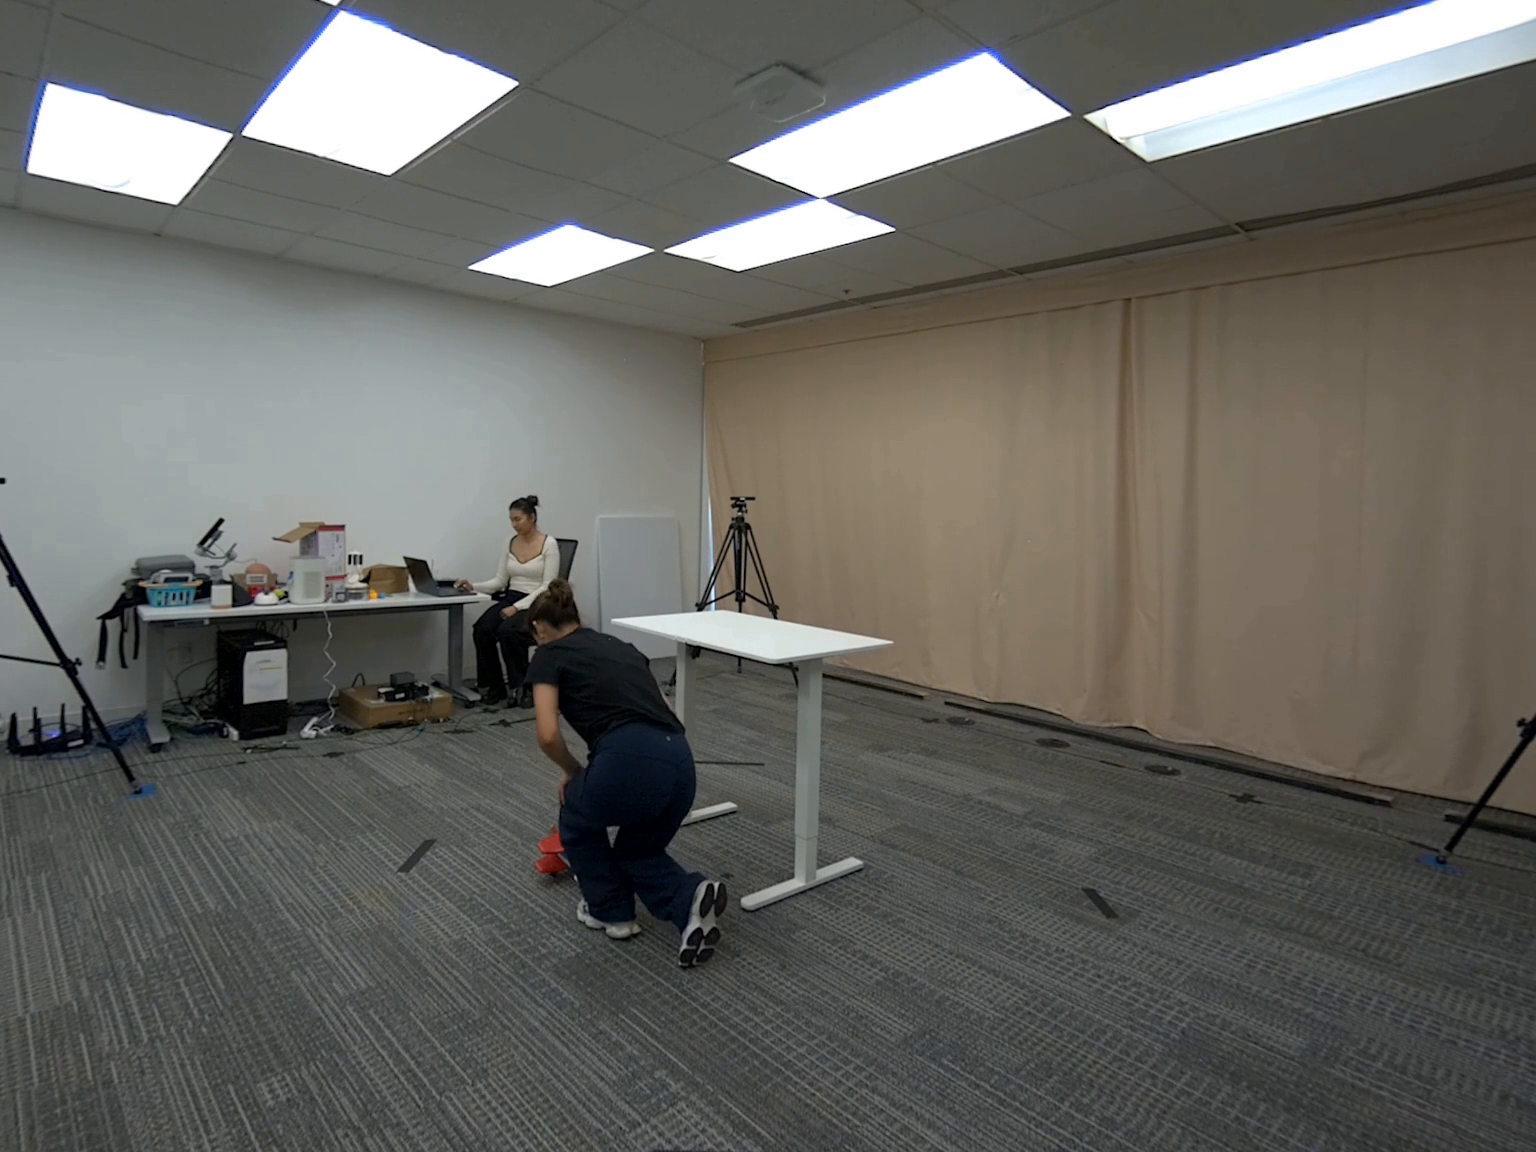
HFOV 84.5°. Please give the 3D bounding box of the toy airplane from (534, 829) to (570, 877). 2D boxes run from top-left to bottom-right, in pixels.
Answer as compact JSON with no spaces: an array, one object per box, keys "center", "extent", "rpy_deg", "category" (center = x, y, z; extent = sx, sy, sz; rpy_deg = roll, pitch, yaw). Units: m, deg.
[{"center":[-0.692,1.026,3.039],"extent":[0.263,0.156,0.248],"rpy_deg":[2,3,19],"category":"toy airplane"}]
